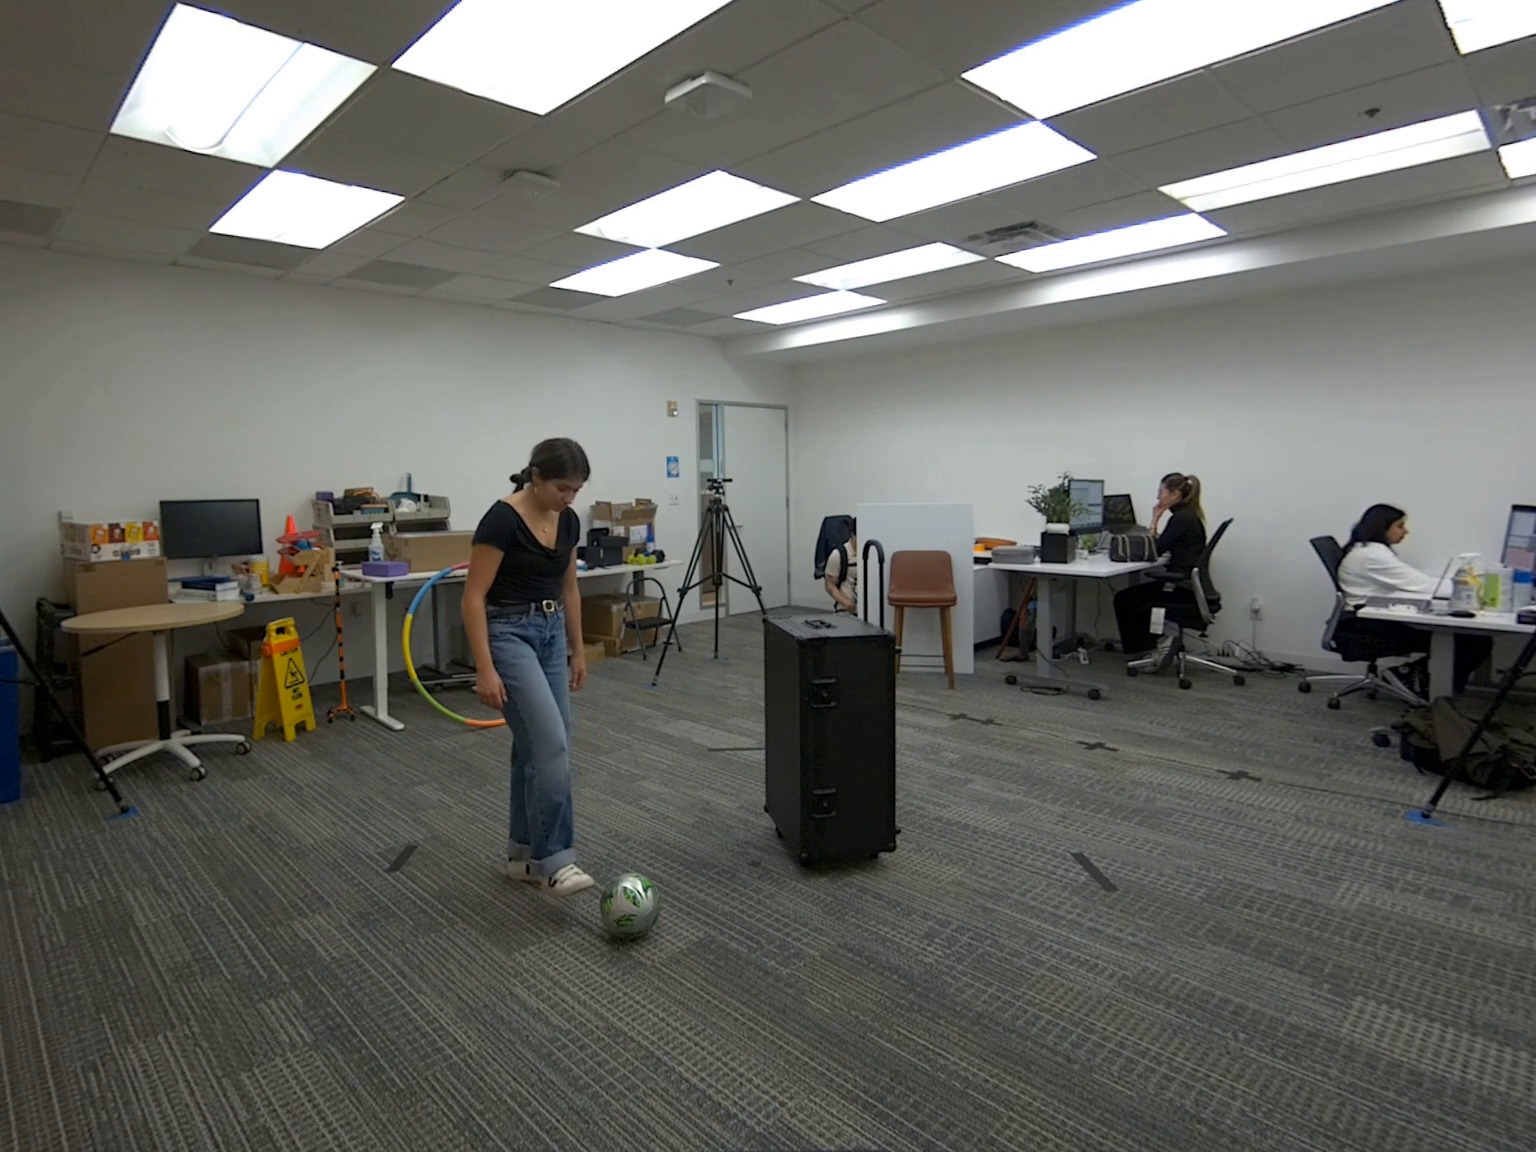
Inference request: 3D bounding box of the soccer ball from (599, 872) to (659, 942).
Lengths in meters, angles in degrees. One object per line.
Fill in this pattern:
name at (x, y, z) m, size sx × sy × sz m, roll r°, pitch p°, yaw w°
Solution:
soccer ball at (-0.419, 1.015, 2.634) m, size 0.187 × 0.187 × 0.188 m, roll -1°, pitch 5°, yaw -2°
